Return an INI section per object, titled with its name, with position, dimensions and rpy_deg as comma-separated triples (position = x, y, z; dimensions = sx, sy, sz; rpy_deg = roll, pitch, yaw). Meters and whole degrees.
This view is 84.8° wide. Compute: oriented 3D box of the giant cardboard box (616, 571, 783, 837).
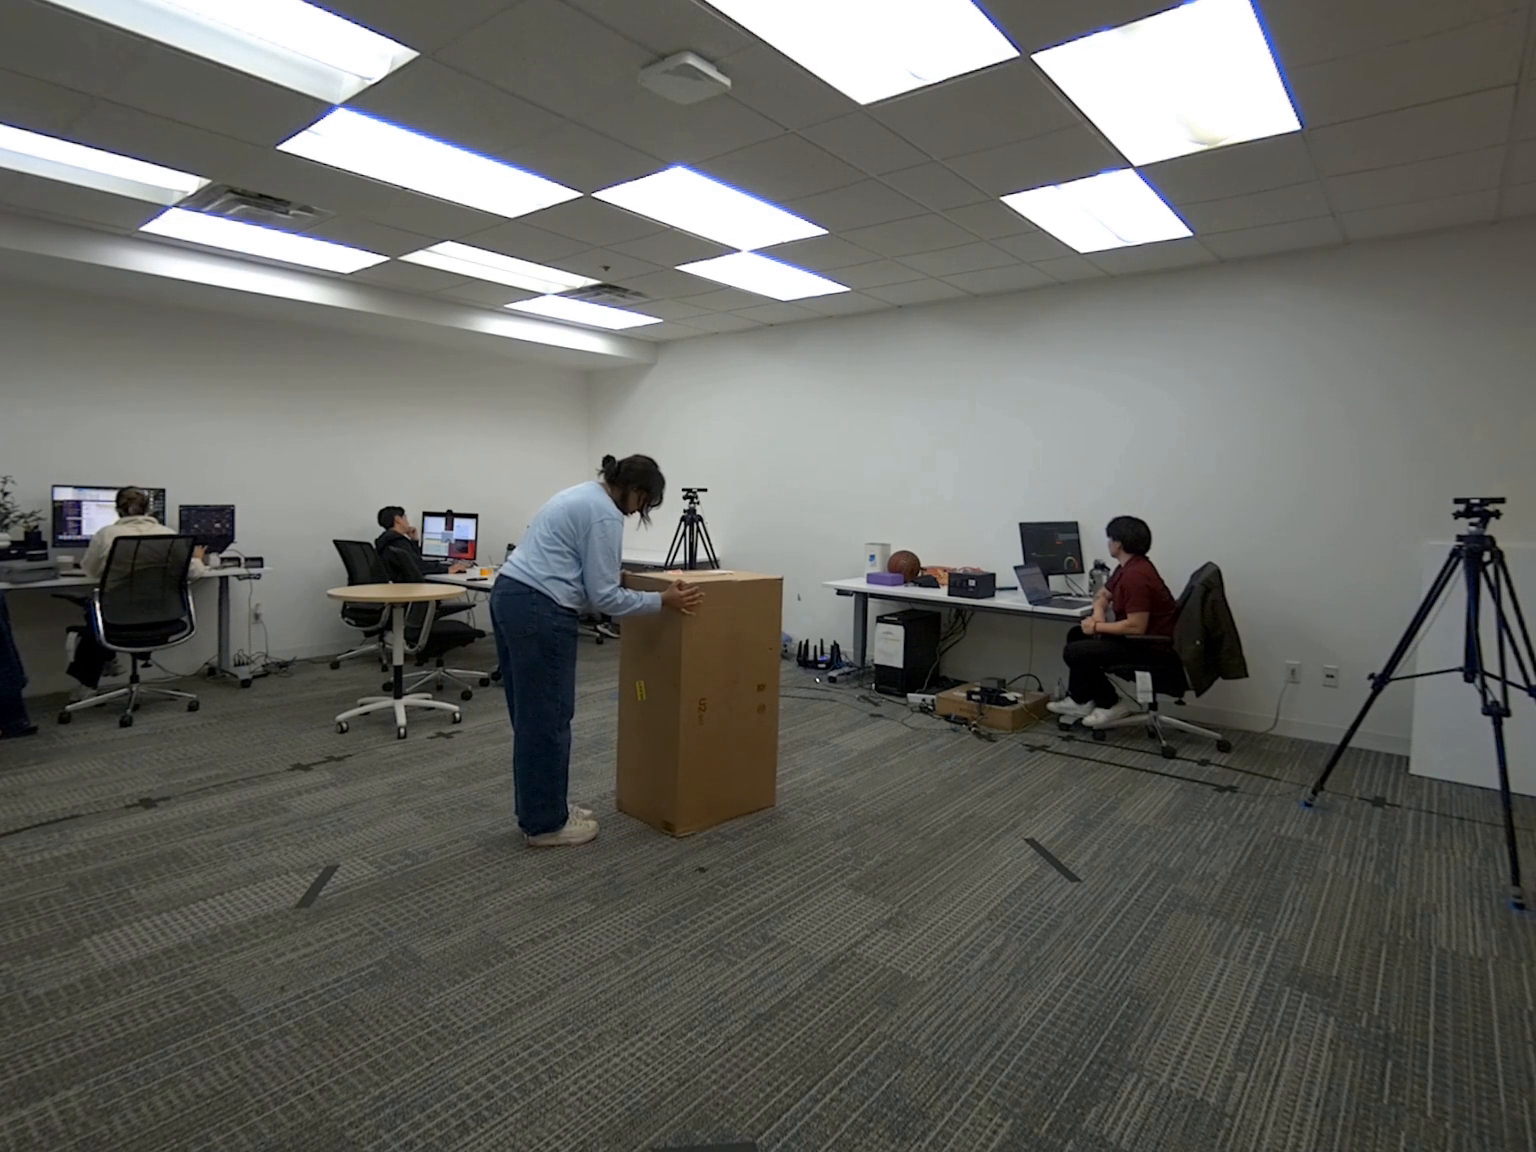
[giant cardboard box]
position = -0.306, 0.505, 3.708
dimensions = 0.560, 1.023, 0.441
rpy_deg = -1, 4, -45
